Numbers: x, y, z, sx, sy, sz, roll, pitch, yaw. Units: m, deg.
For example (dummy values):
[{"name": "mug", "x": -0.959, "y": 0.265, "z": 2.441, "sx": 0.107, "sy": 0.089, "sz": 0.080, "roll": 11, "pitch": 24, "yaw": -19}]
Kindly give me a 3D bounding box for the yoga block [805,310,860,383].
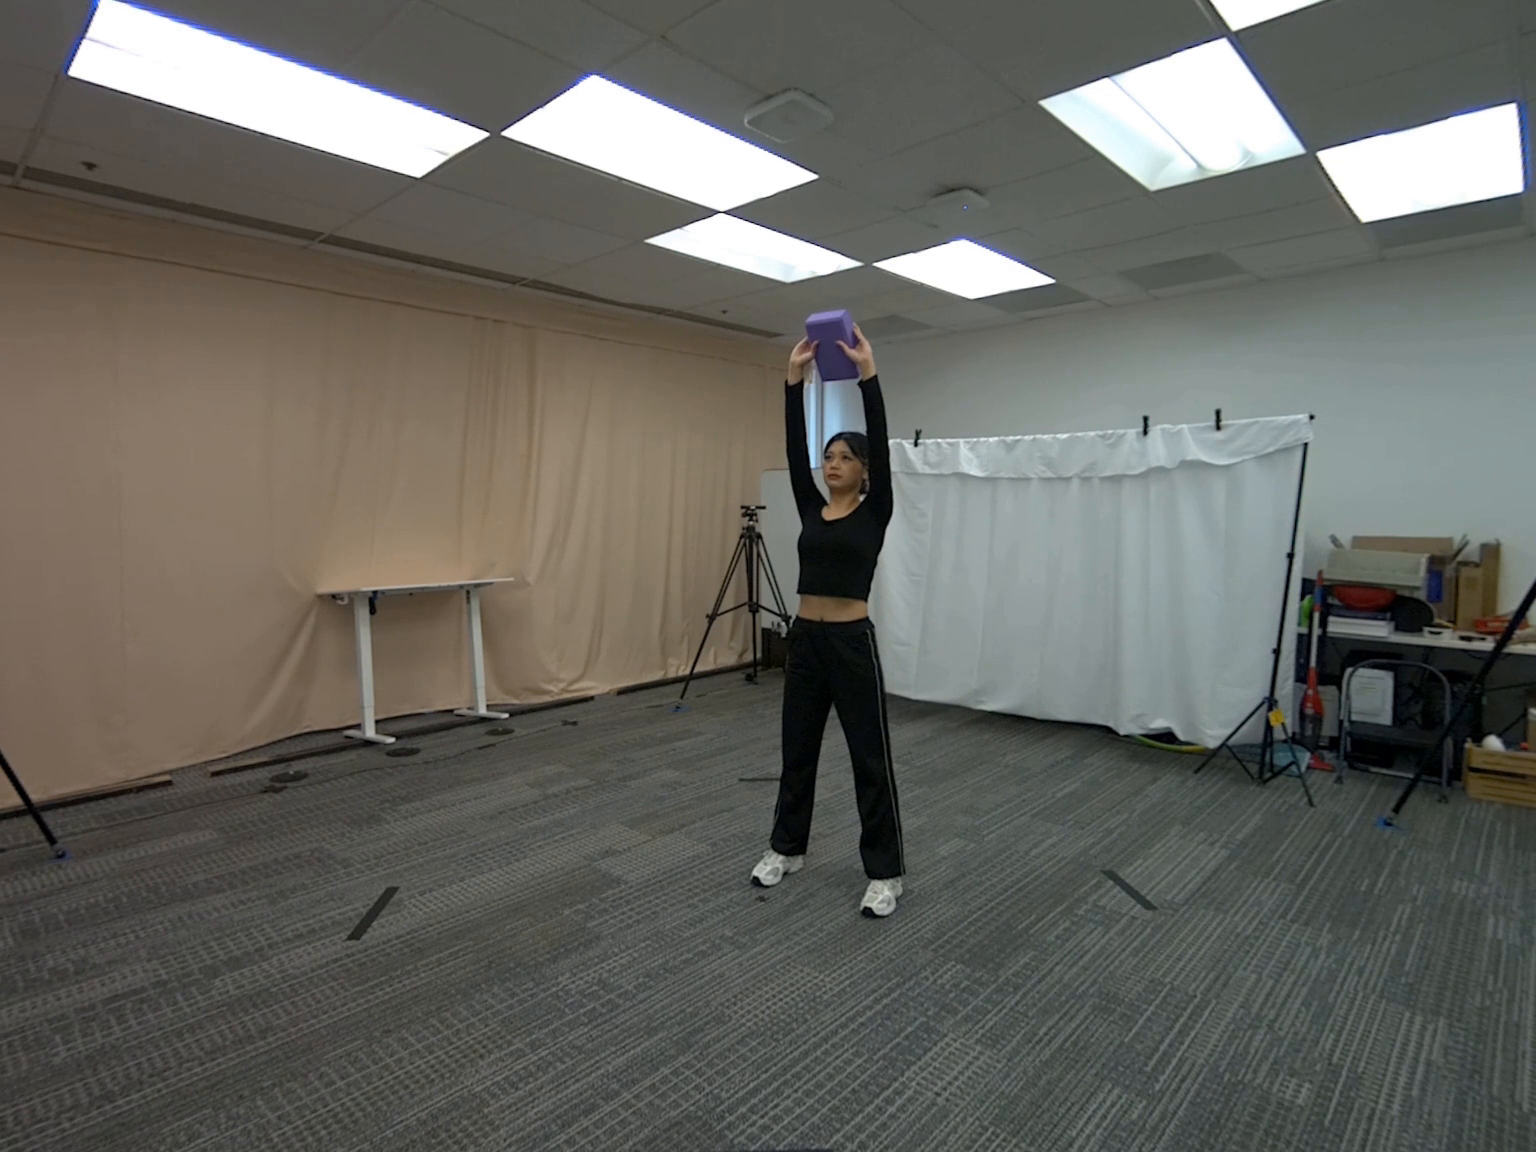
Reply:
[{"name": "yoga block", "x": 0.232, "y": -0.784, "z": 2.871, "sx": 0.153, "sy": 0.223, "sz": 0.076, "roll": 2, "pitch": 41, "yaw": 33}]
